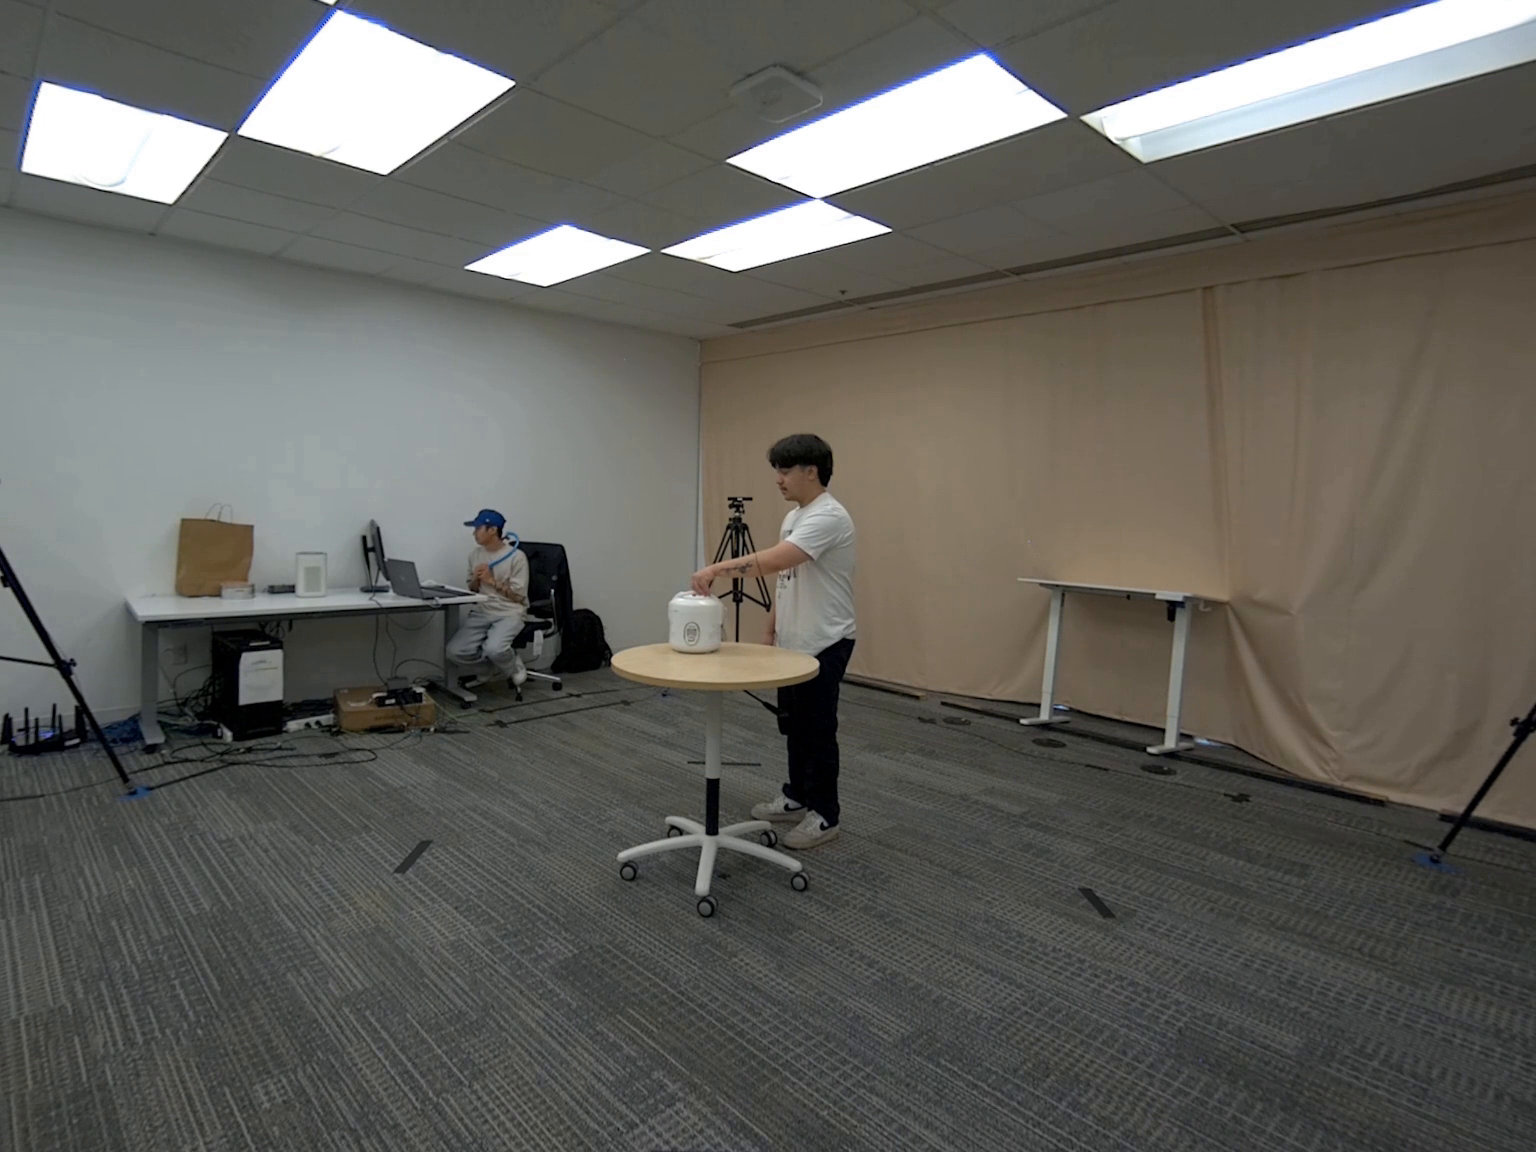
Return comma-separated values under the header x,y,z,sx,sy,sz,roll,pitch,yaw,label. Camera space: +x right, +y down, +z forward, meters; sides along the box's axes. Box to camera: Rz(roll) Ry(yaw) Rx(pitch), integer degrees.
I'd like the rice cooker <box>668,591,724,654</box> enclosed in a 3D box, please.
x,y,z,sx,sy,sz,roll,pitch,yaw,label
-0.287,0.174,3.288,0.221,0.232,0.217,1,3,4,rice cooker
